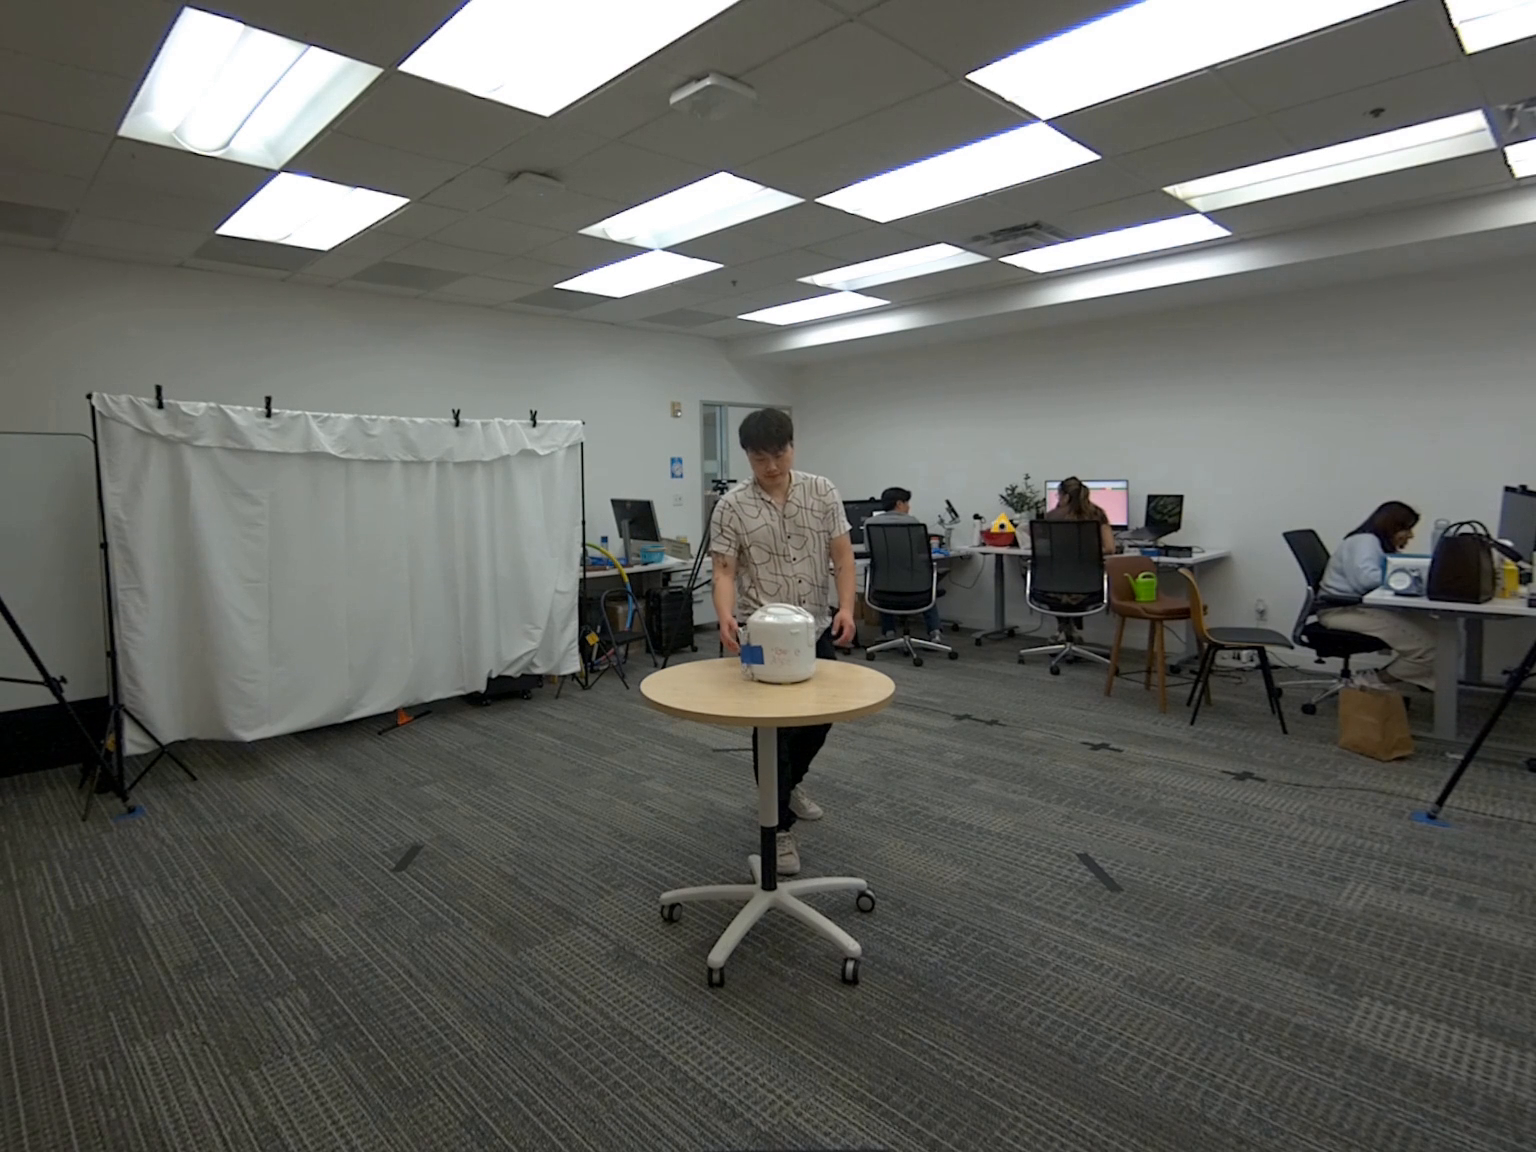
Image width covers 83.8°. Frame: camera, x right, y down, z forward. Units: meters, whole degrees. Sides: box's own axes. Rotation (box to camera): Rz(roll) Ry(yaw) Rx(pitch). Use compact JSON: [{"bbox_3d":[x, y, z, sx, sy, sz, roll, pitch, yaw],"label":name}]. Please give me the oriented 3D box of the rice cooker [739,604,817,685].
[{"bbox_3d":[0.039,0.203,2.643,0.226,0.232,0.213,2,6,30],"label":"rice cooker"}]
